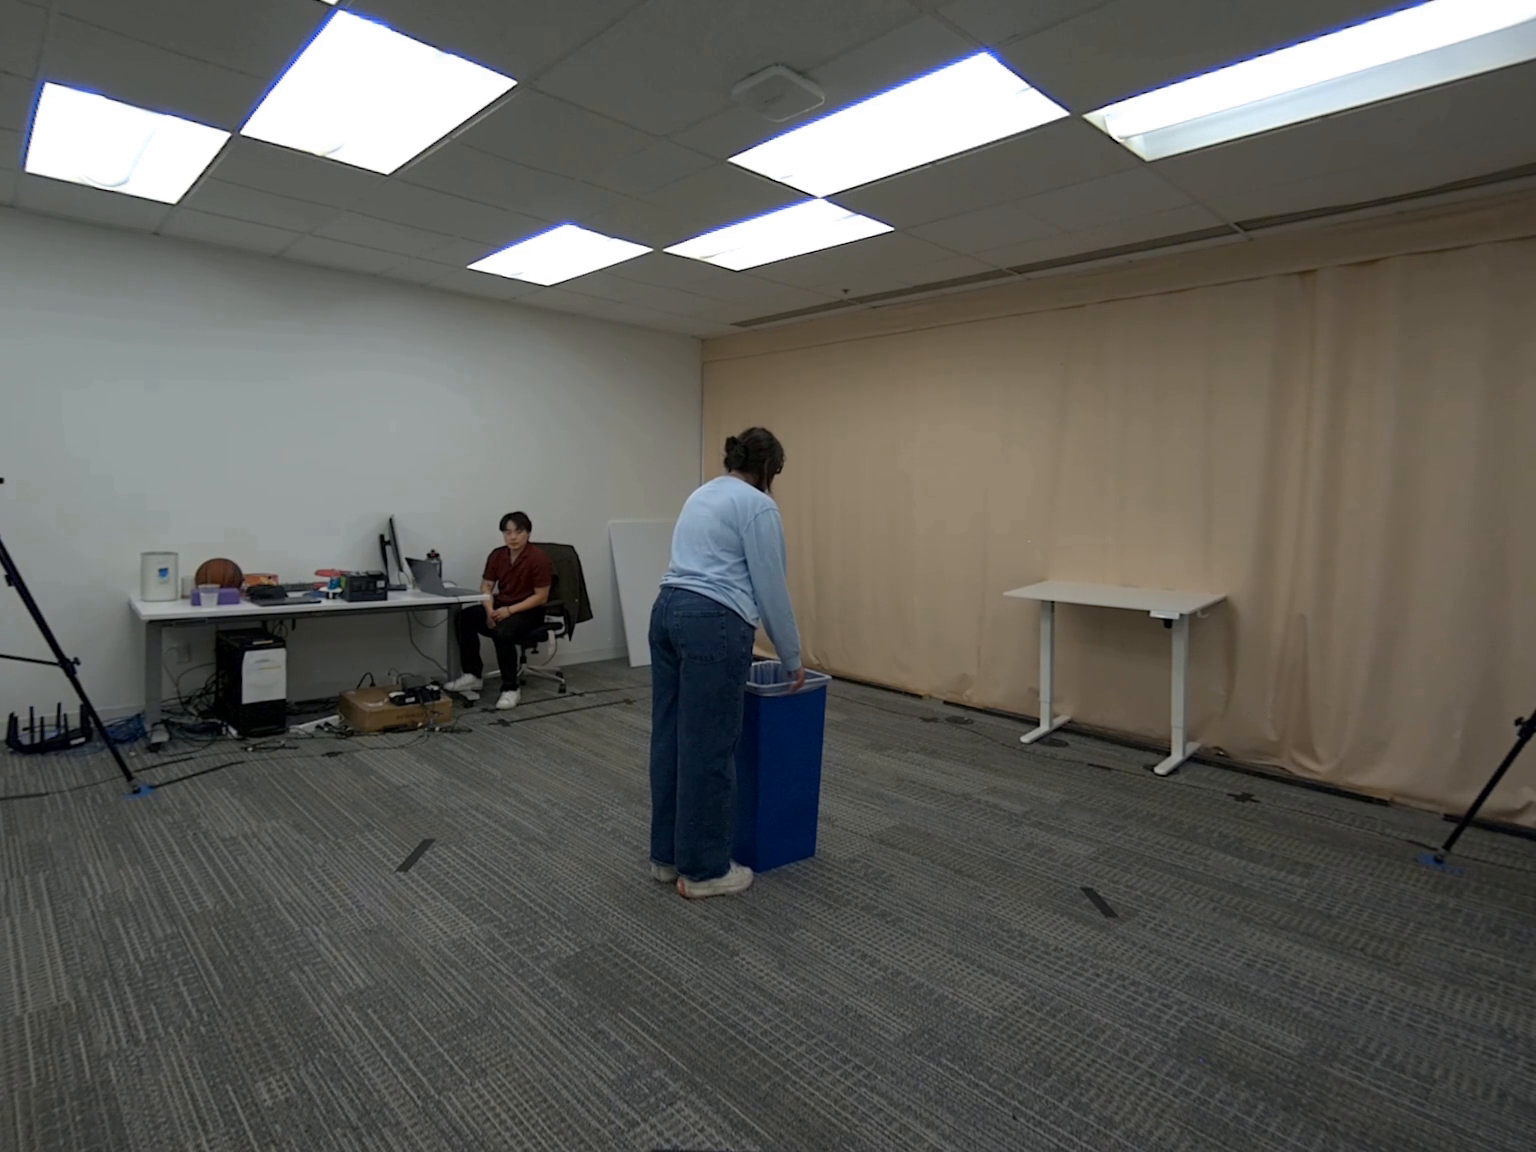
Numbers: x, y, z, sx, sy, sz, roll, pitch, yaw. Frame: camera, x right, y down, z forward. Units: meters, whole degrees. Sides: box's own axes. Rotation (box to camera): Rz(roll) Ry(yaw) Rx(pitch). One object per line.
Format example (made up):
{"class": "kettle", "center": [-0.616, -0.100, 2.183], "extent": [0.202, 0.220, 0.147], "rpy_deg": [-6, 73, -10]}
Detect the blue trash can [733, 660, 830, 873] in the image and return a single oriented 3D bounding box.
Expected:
{"class": "blue trash can", "center": [-0.009, 0.733, 3.309], "extent": [0.369, 0.712, 0.383], "rpy_deg": [-2, 4, -39]}
